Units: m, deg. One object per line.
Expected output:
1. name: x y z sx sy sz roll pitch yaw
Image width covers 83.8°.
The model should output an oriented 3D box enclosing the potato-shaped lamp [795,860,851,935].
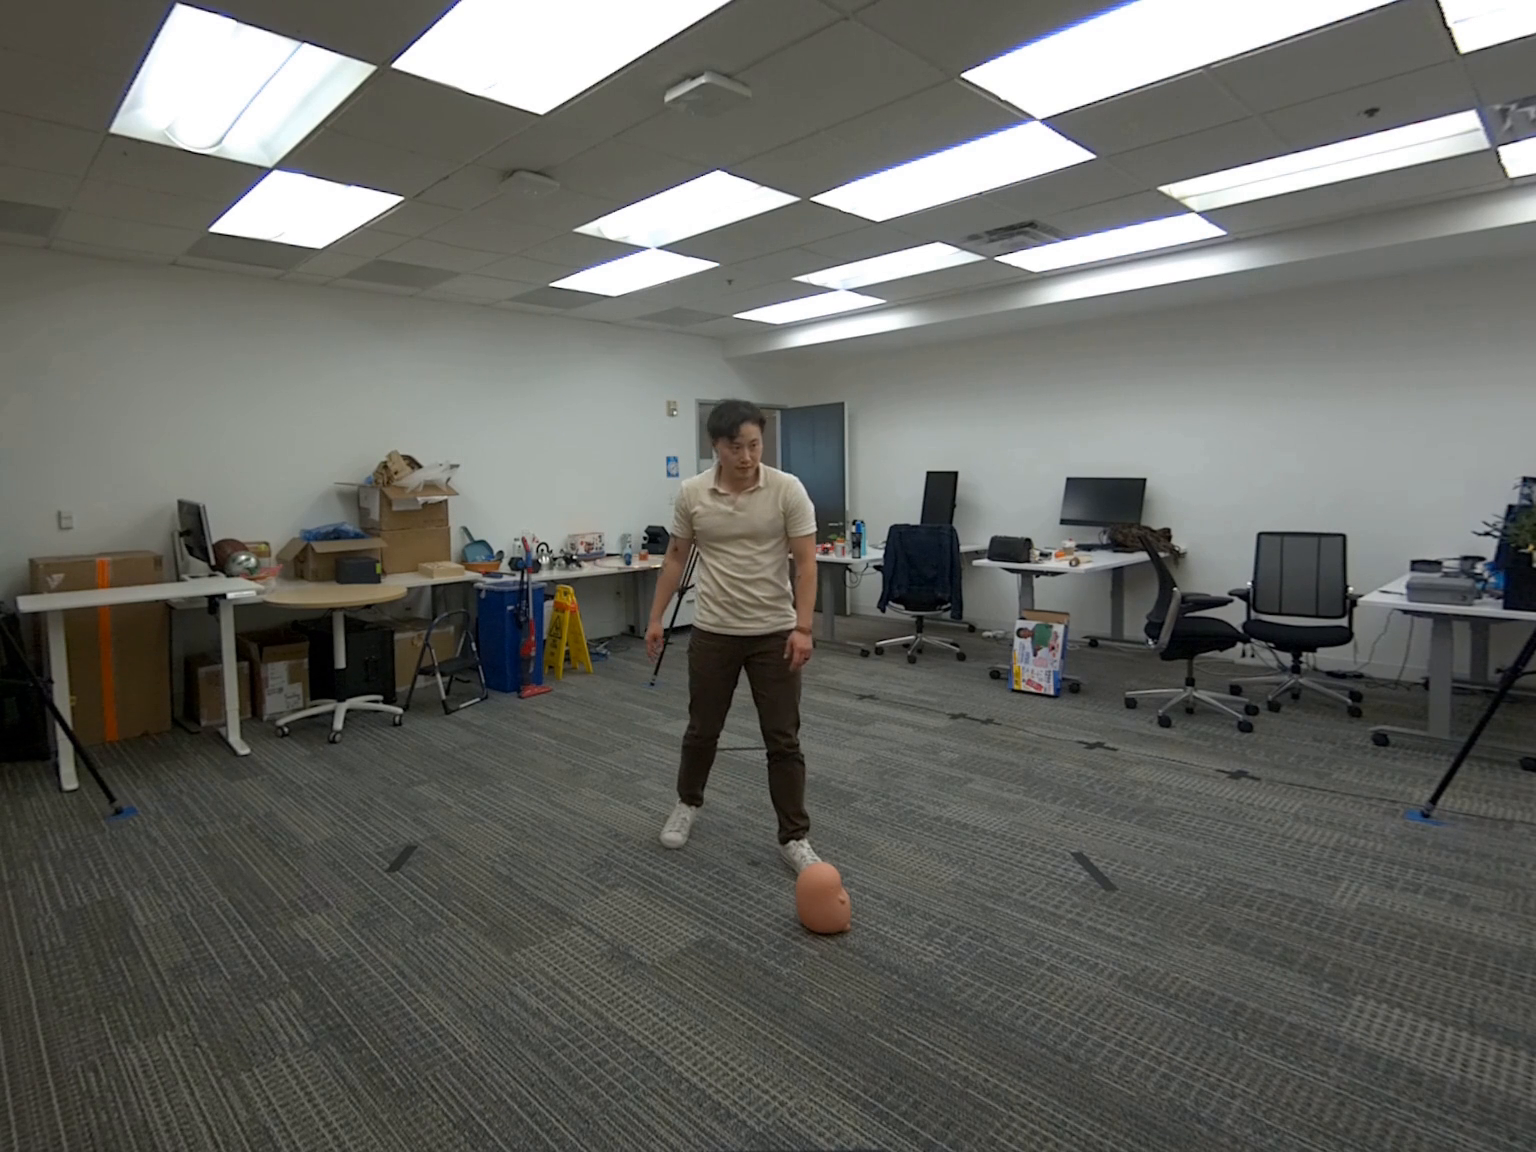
1. potato-shaped lamp: 0.176 0.987 2.660 0.170 0.197 0.166 -3 6 -6
